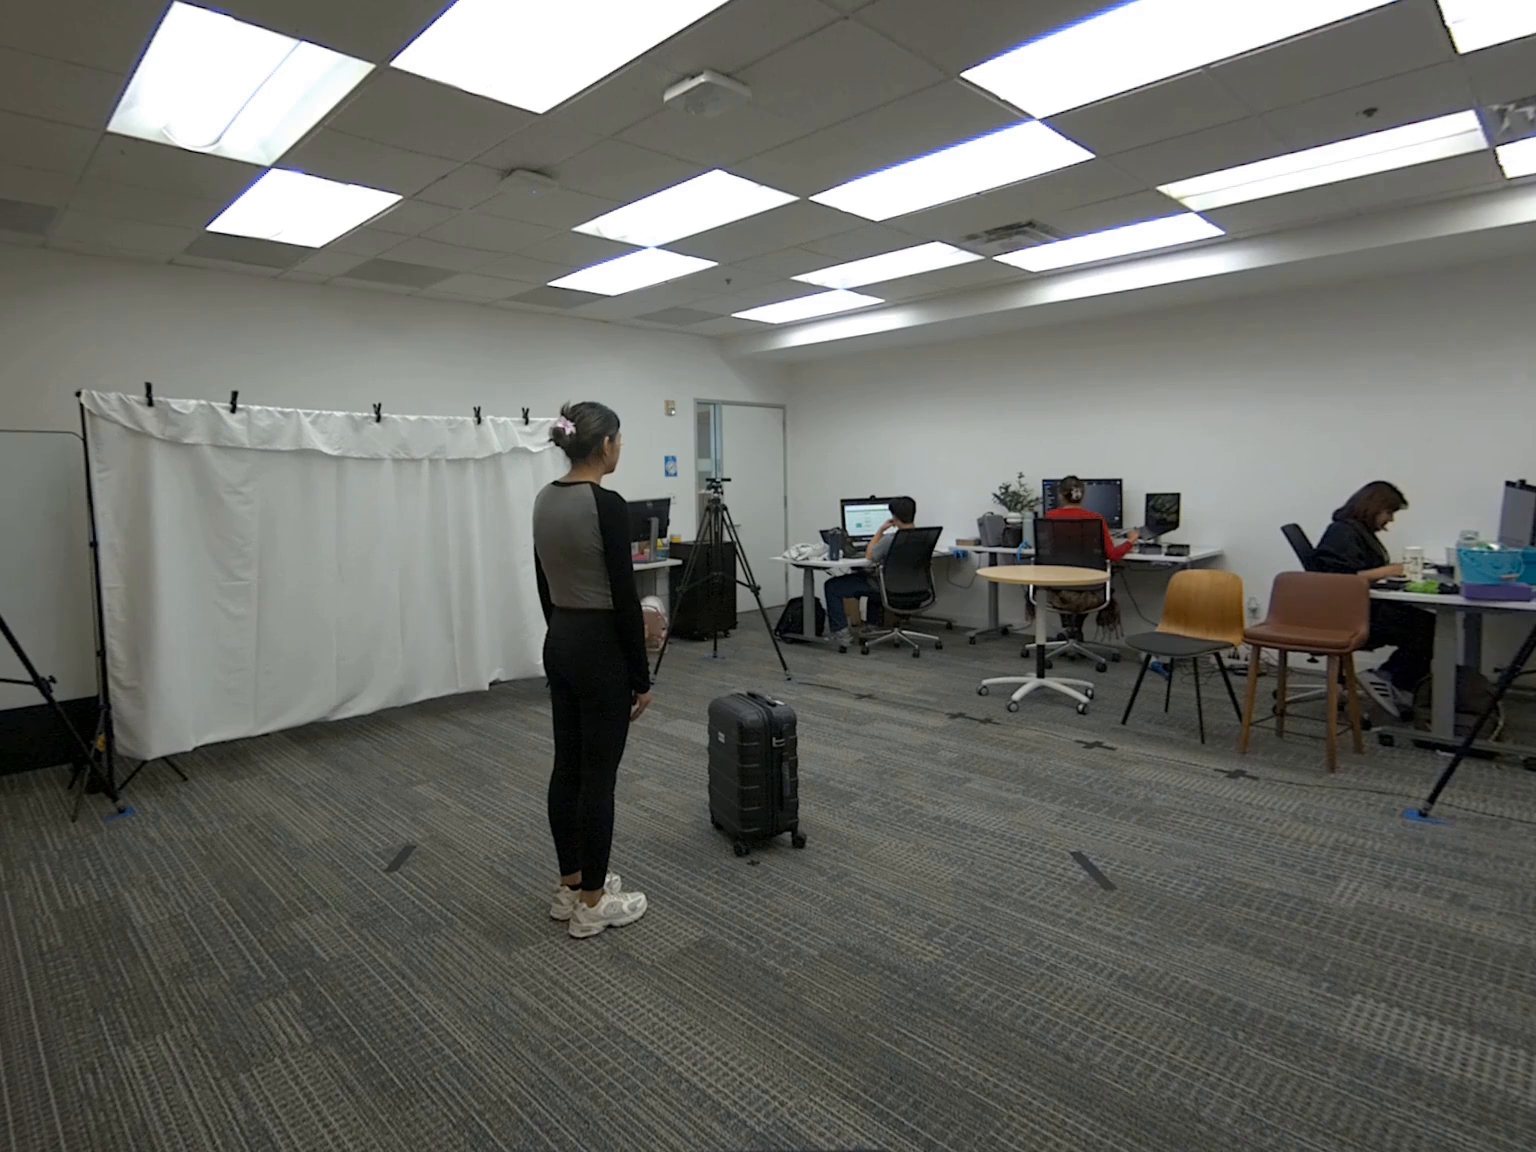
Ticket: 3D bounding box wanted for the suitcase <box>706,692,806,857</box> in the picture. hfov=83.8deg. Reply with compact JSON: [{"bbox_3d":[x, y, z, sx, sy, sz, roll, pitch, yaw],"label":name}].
[{"bbox_3d":[-0.059,0.741,3.310,0.243,0.547,0.385,-4,6,-26],"label":"suitcase"}]
